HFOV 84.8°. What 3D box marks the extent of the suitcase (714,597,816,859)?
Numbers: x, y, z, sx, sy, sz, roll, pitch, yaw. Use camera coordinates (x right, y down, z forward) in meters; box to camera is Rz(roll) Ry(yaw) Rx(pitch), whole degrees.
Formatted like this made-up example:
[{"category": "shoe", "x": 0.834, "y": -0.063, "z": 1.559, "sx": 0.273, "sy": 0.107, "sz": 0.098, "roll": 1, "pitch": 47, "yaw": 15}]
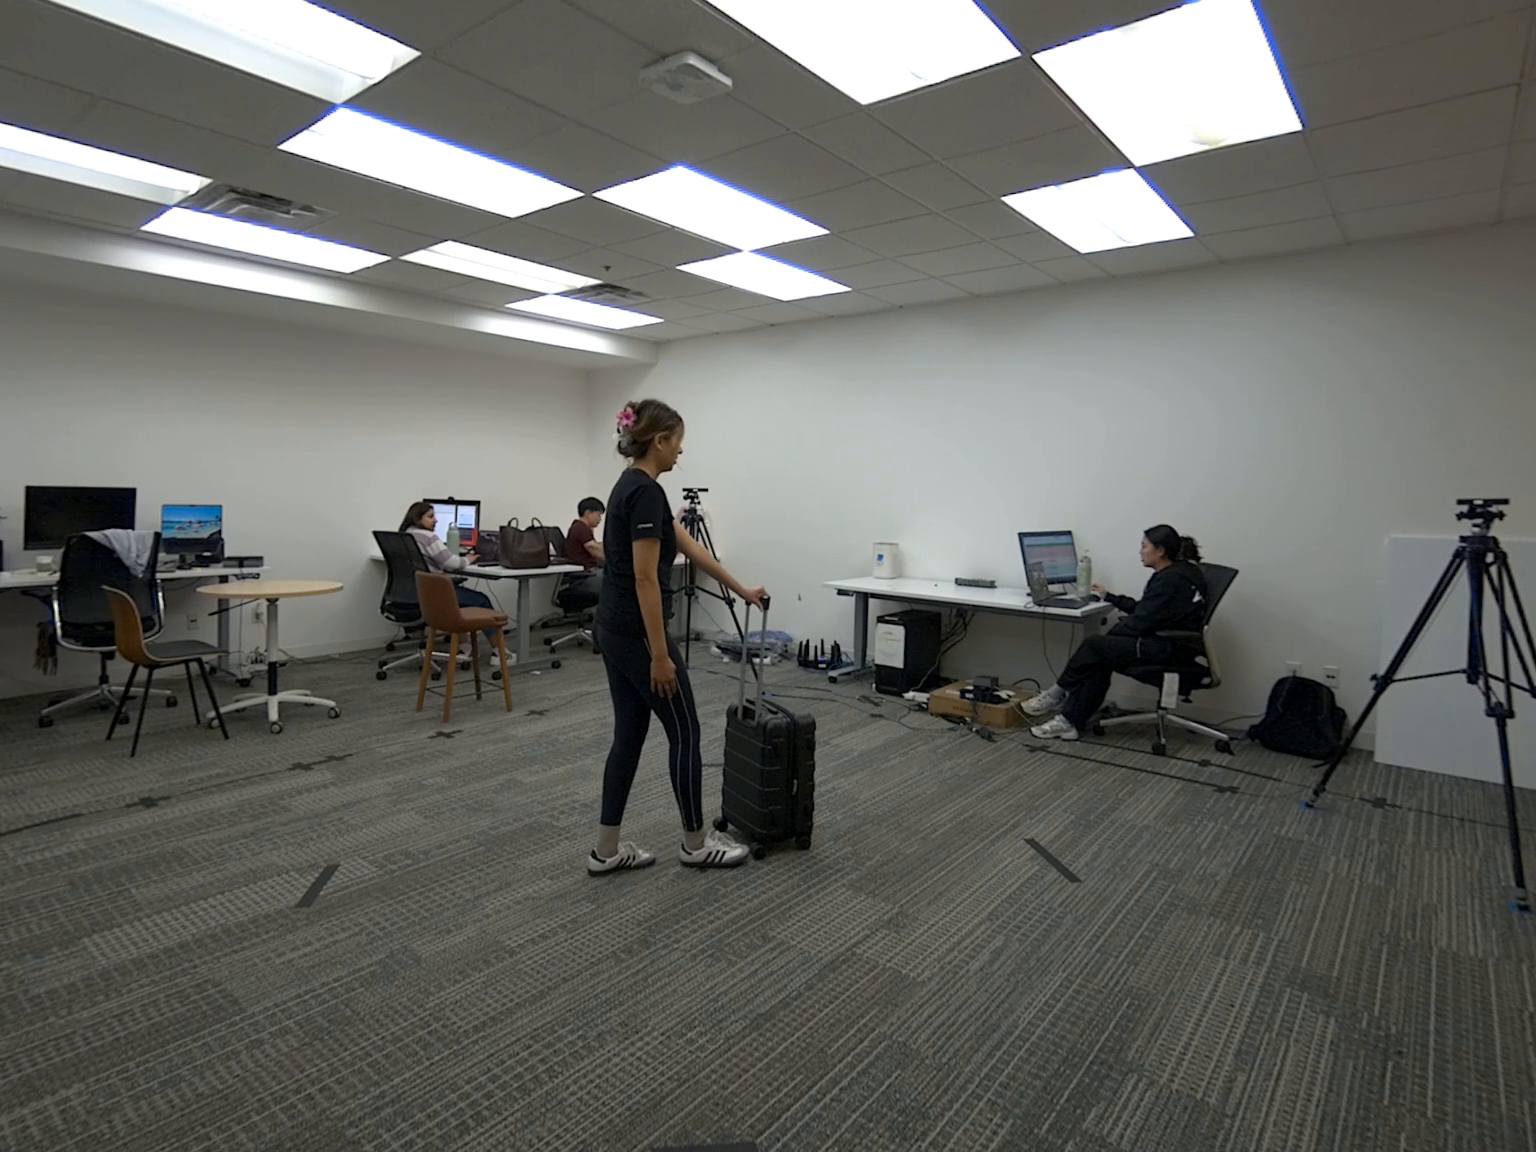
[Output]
[{"category": "suitcase", "x": 0.006, "y": 0.569, "z": 3.386, "sx": 0.250, "sy": 0.977, "sz": 0.395, "roll": 2, "pitch": 2, "yaw": -28}]
